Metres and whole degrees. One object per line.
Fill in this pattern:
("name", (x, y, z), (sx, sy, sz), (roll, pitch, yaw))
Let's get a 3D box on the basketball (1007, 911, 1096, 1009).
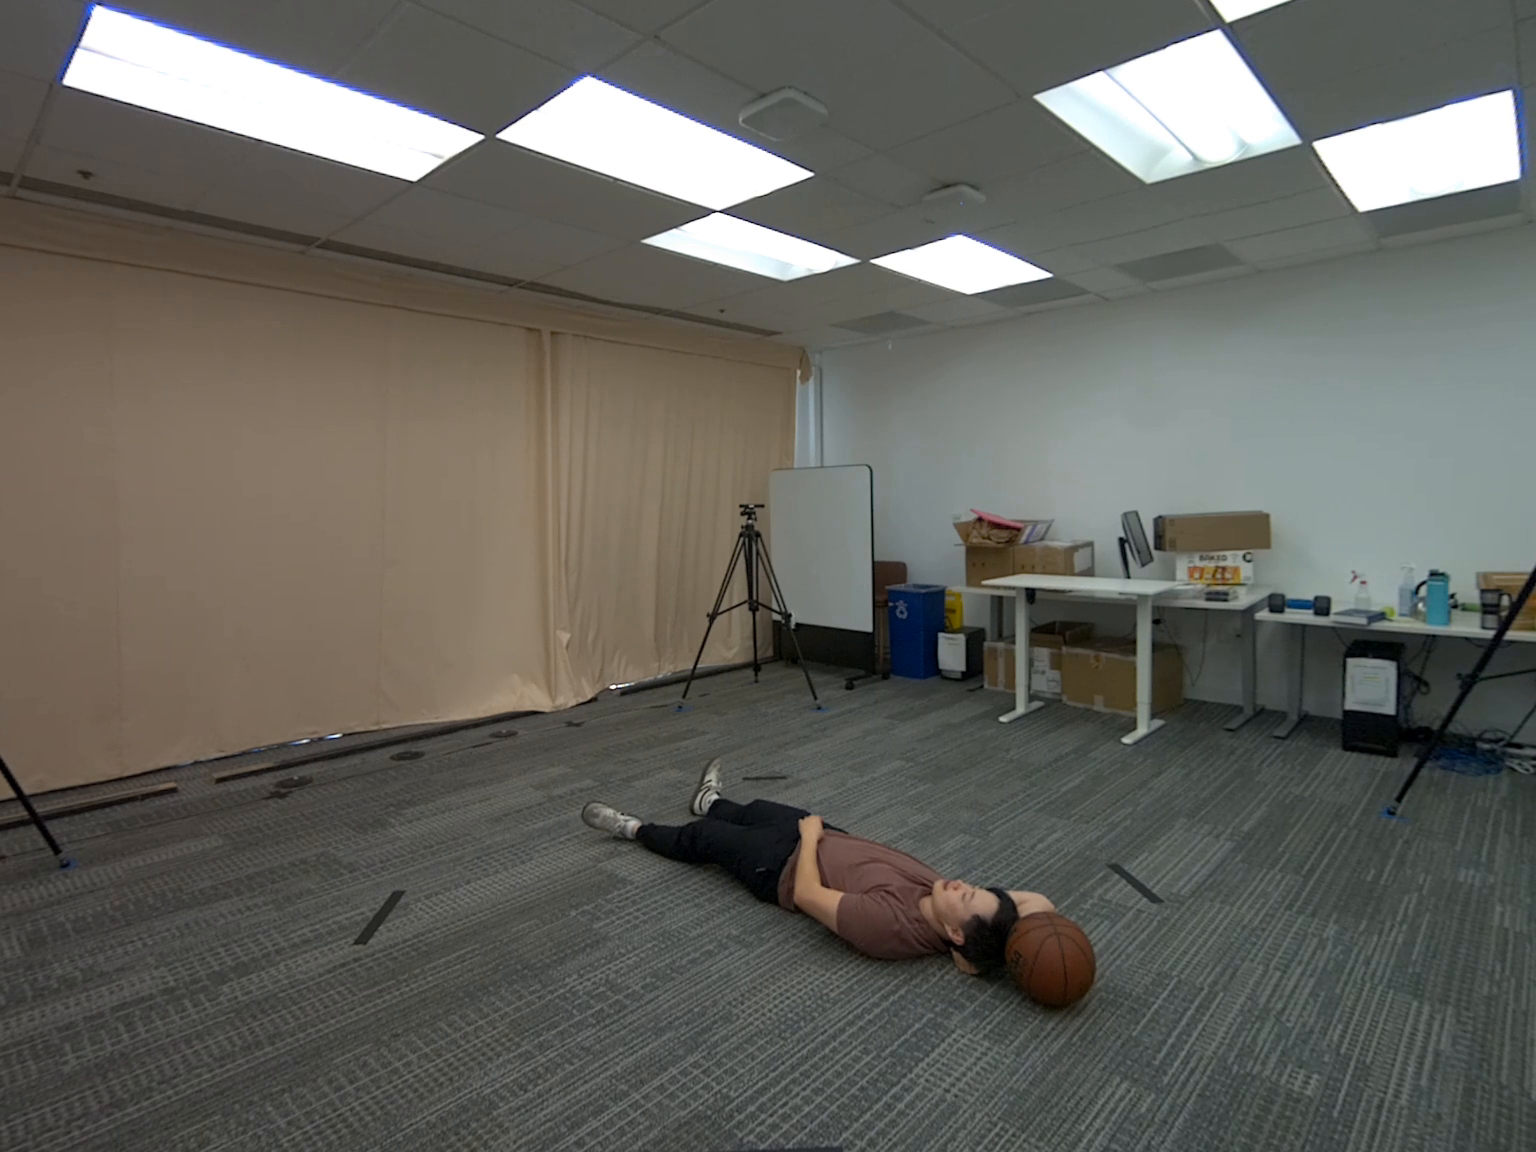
("basketball", (0.790, 1.062, 2.343), (0.236, 0.235, 0.236), (-1, 3, -2))
